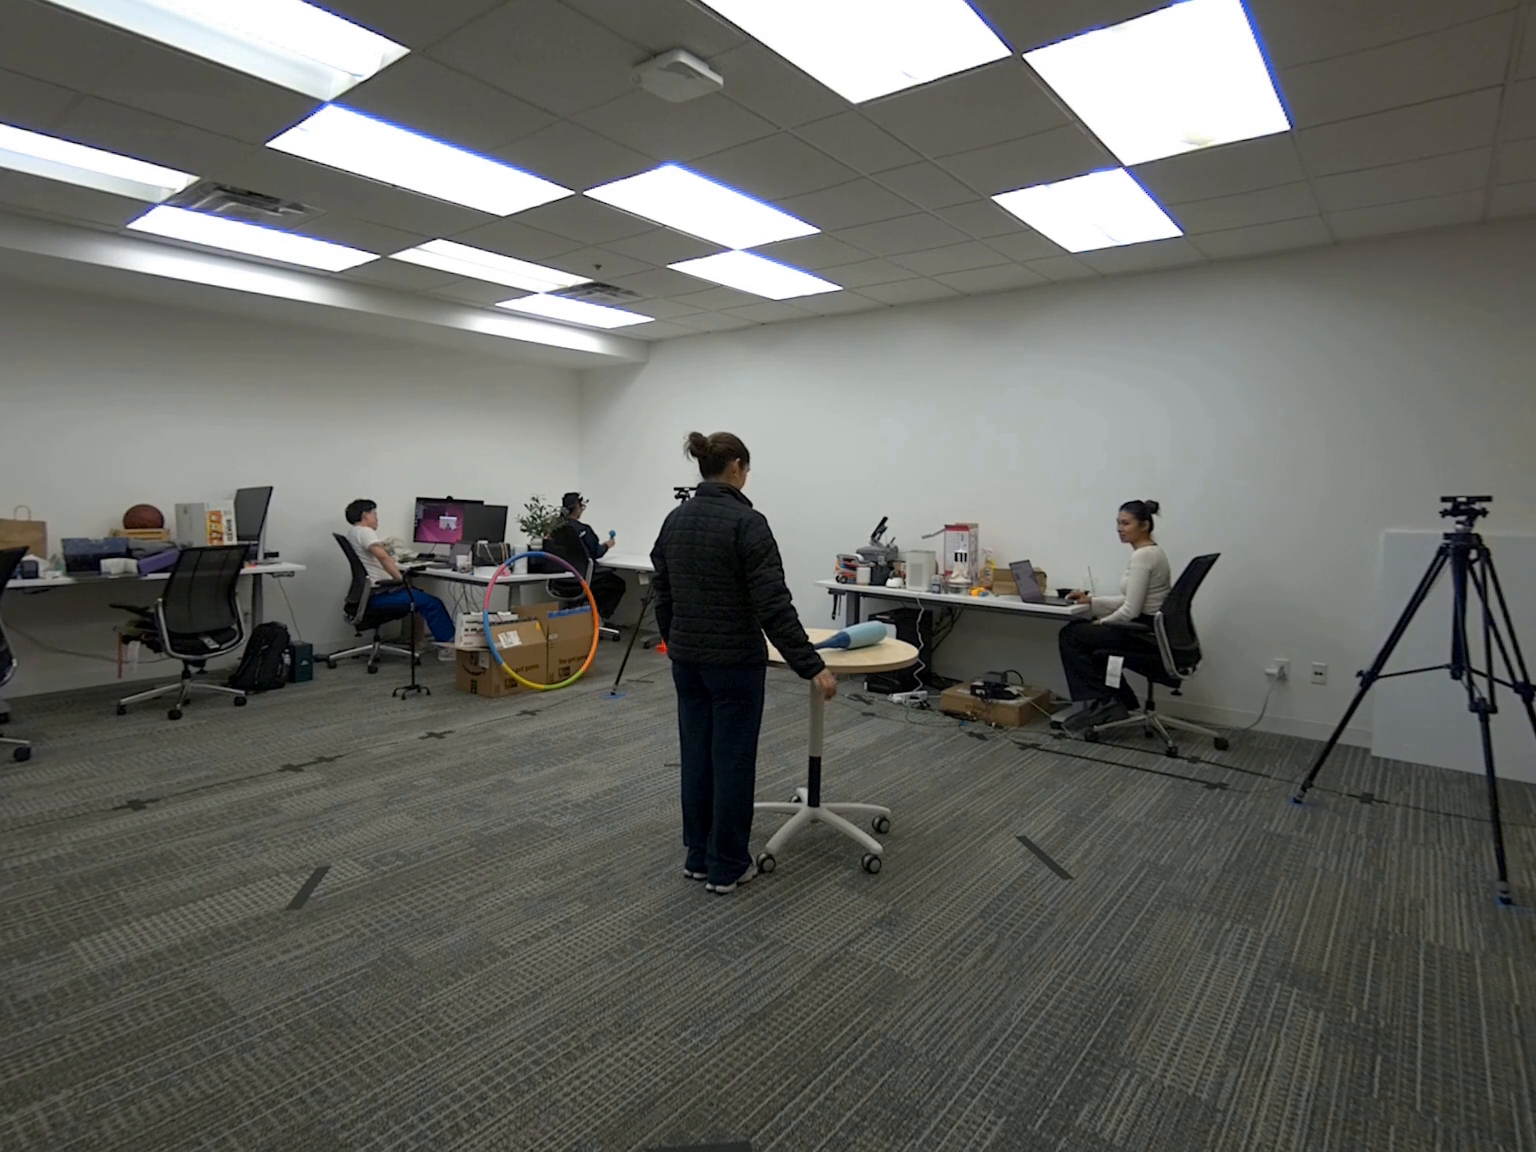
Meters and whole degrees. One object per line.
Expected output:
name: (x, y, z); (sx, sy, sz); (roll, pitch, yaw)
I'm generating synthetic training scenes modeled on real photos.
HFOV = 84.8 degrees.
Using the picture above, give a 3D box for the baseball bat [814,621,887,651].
baseball bat: (0.290, 0.249, 3.234); (0.092, 0.088, 0.528); (5, 9, 43)
